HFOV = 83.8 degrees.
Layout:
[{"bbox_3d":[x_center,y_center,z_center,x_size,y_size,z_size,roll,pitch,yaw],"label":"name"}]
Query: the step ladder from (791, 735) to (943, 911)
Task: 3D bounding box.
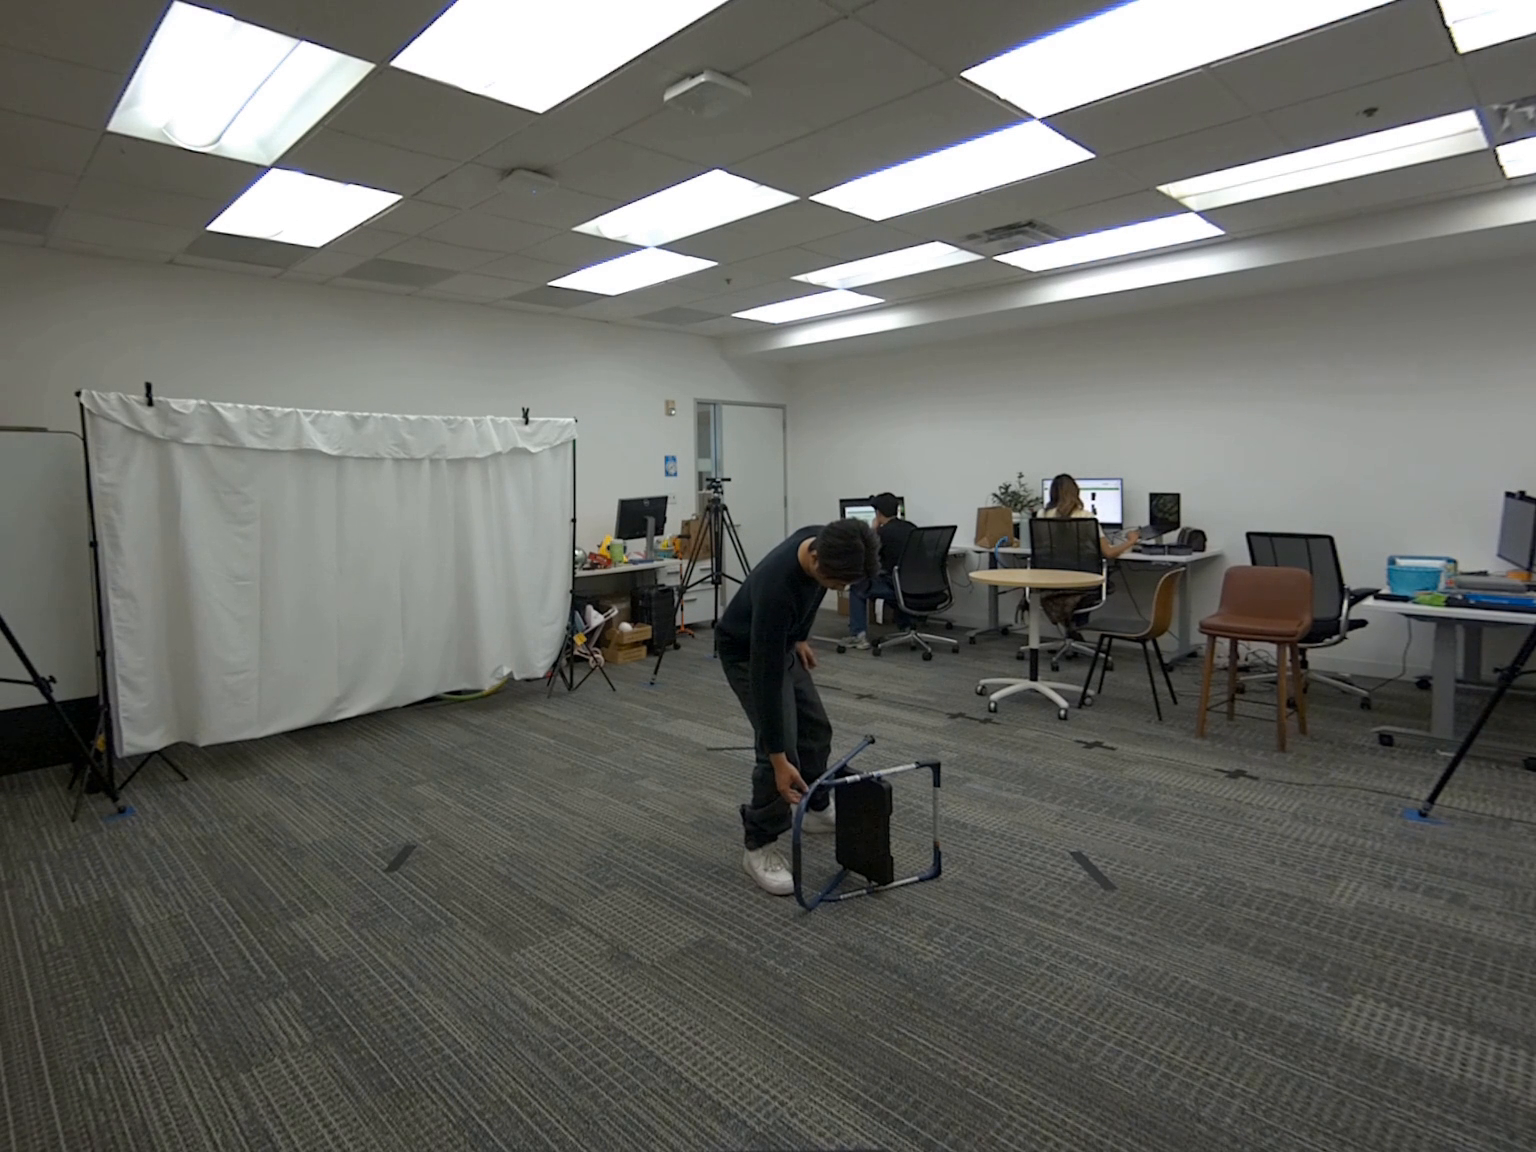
[{"bbox_3d":[0.267,0.851,2.903,0.591,0.428,0.360,-8,8,-39],"label":"step ladder"}]
